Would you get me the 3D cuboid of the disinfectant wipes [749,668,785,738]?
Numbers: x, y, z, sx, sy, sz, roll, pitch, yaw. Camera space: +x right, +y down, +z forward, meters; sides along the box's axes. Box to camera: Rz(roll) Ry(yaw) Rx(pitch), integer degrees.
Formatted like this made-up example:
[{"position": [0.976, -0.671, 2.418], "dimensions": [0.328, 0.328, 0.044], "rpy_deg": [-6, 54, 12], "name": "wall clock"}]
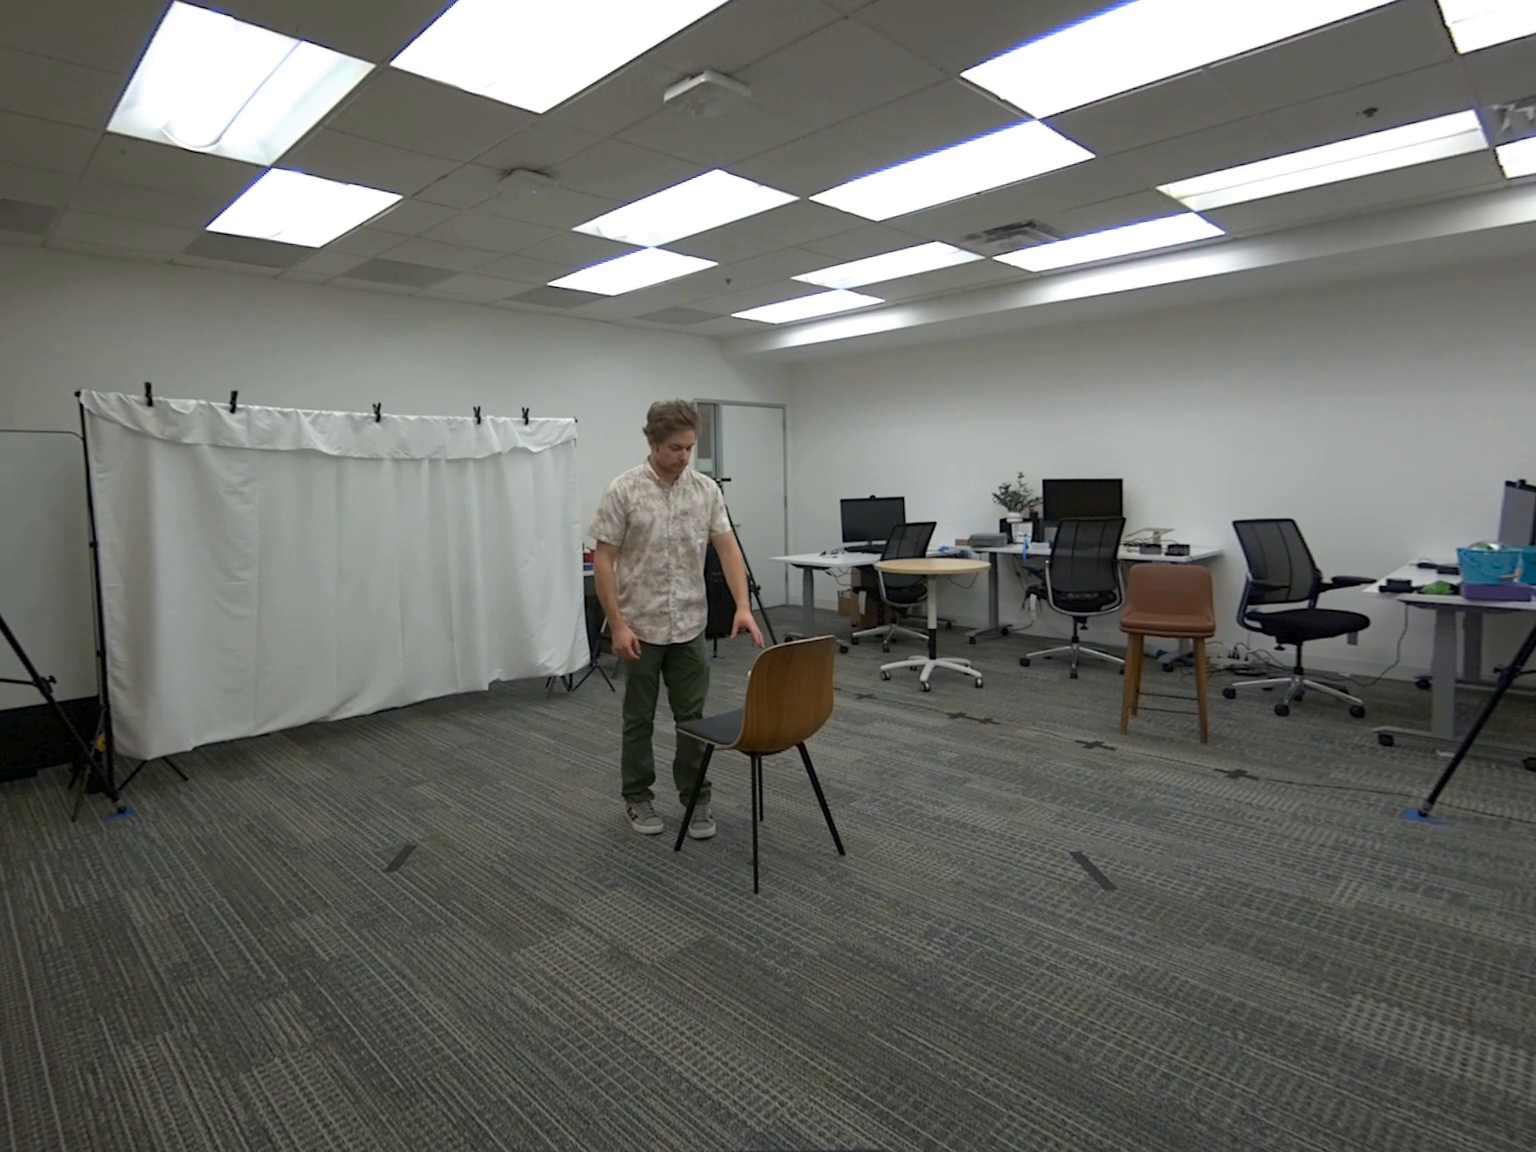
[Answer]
[{"position": [-0.007, 0.461, 3.135], "dimensions": [0.118, 0.216, 0.119], "rpy_deg": [-1, 8, -2], "name": "disinfectant wipes"}]
